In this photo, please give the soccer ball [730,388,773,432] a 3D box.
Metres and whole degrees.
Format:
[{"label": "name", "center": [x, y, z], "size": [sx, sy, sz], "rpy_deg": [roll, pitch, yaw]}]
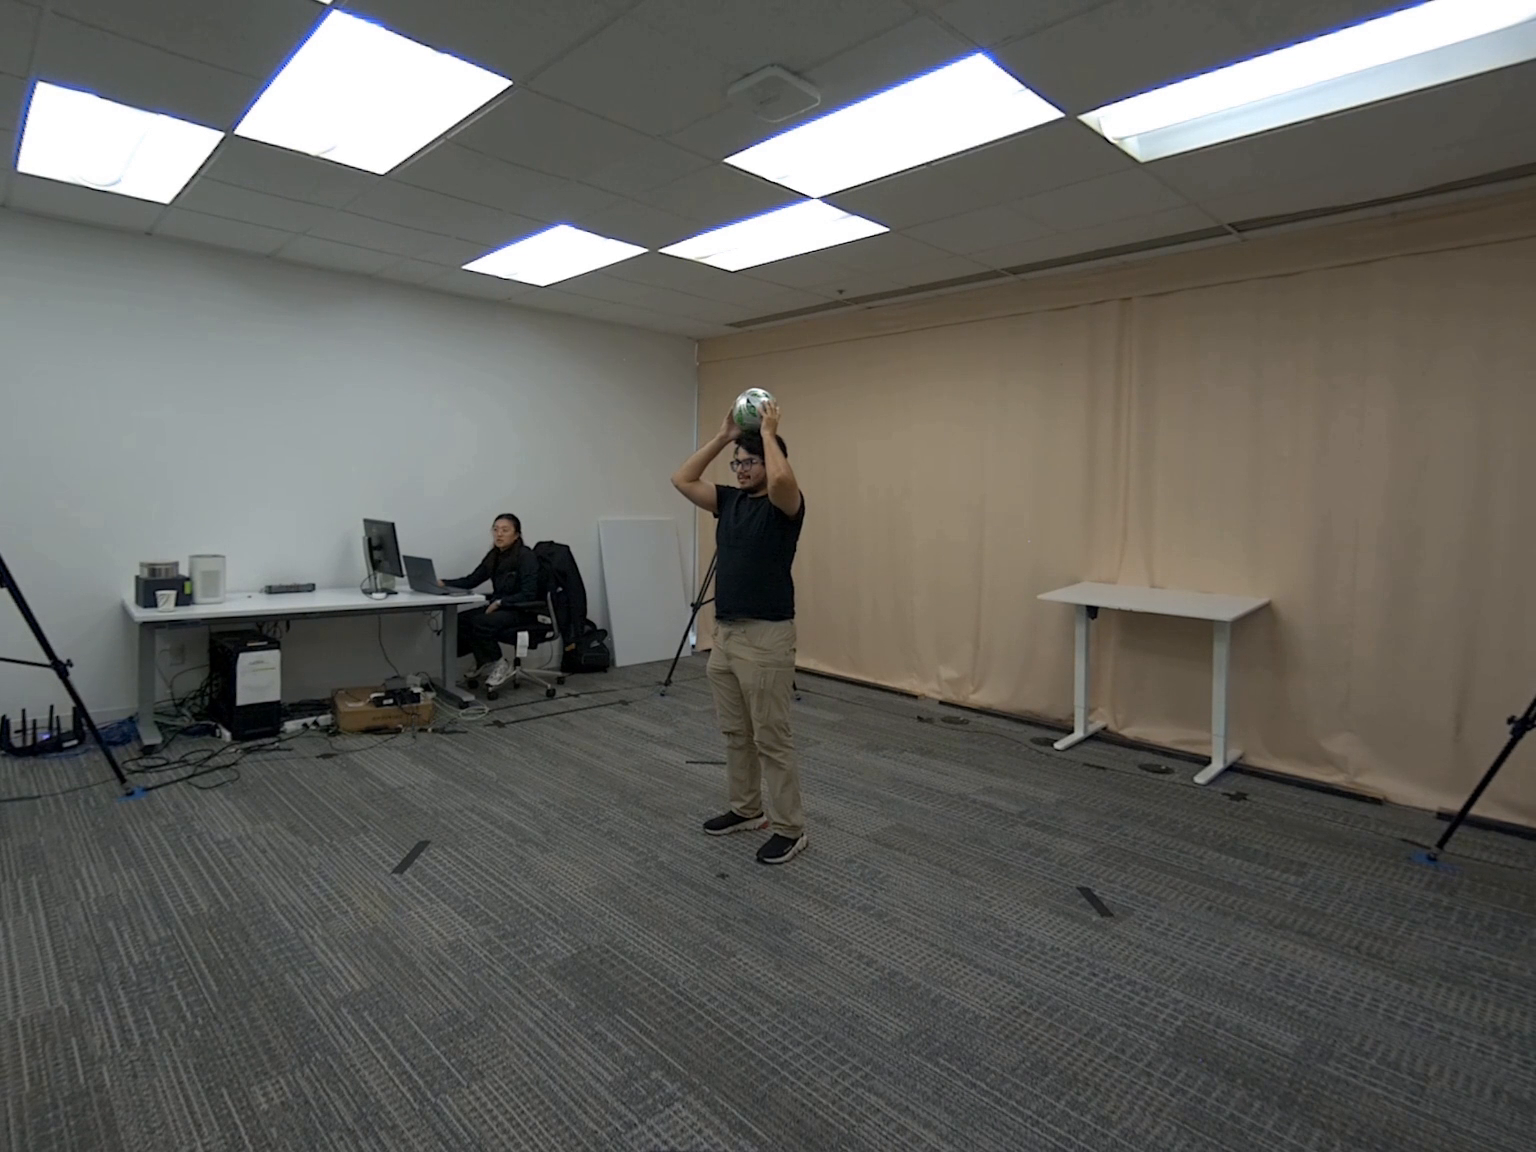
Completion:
[{"label": "soccer ball", "center": [-0.057, -0.656, 3.382], "size": [0.187, 0.187, 0.188], "rpy_deg": [1, 4, -1]}]
